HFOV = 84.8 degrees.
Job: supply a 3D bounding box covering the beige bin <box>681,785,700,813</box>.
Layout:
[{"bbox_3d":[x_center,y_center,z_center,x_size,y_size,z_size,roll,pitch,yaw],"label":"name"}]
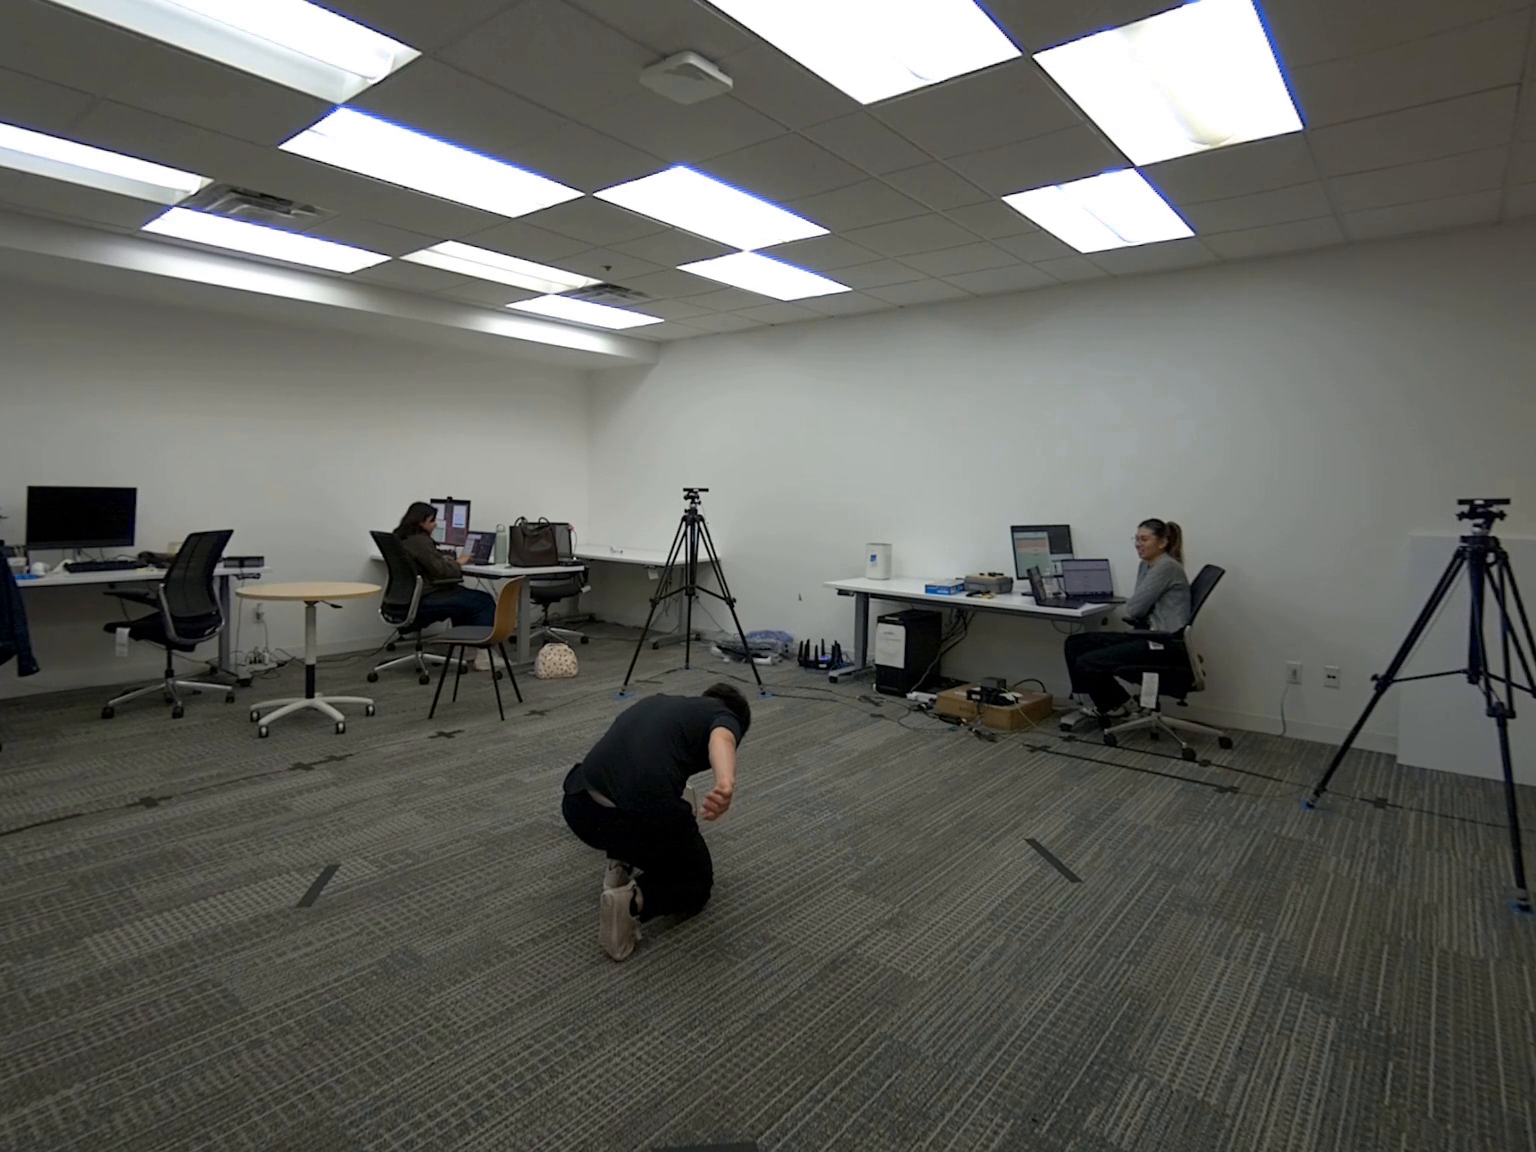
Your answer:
[{"bbox_3d":[-0.567,0.932,3.479,0.410,0.188,0.390,-4,6,-37],"label":"beige bin"}]
